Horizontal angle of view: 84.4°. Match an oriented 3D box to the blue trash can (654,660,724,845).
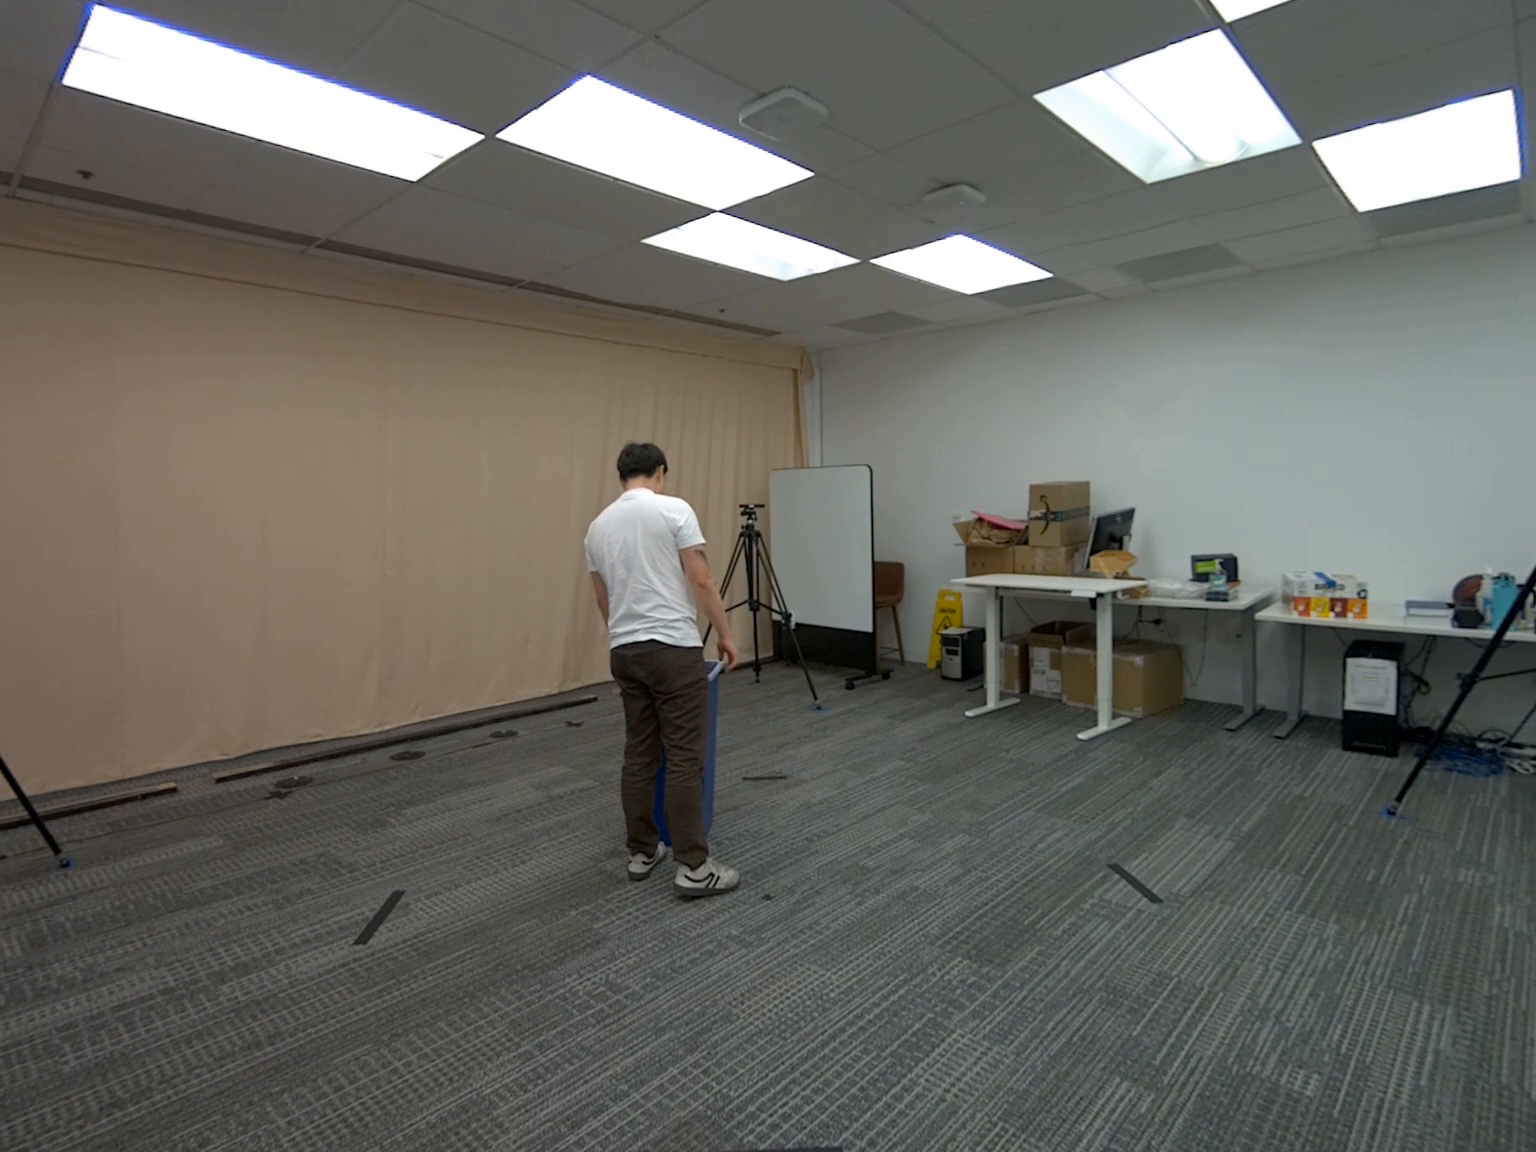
[{"bbox_3d":[-0.397,0.734,3.579,0.381,0.712,0.372,2,2,6],"label":"blue trash can"}]
